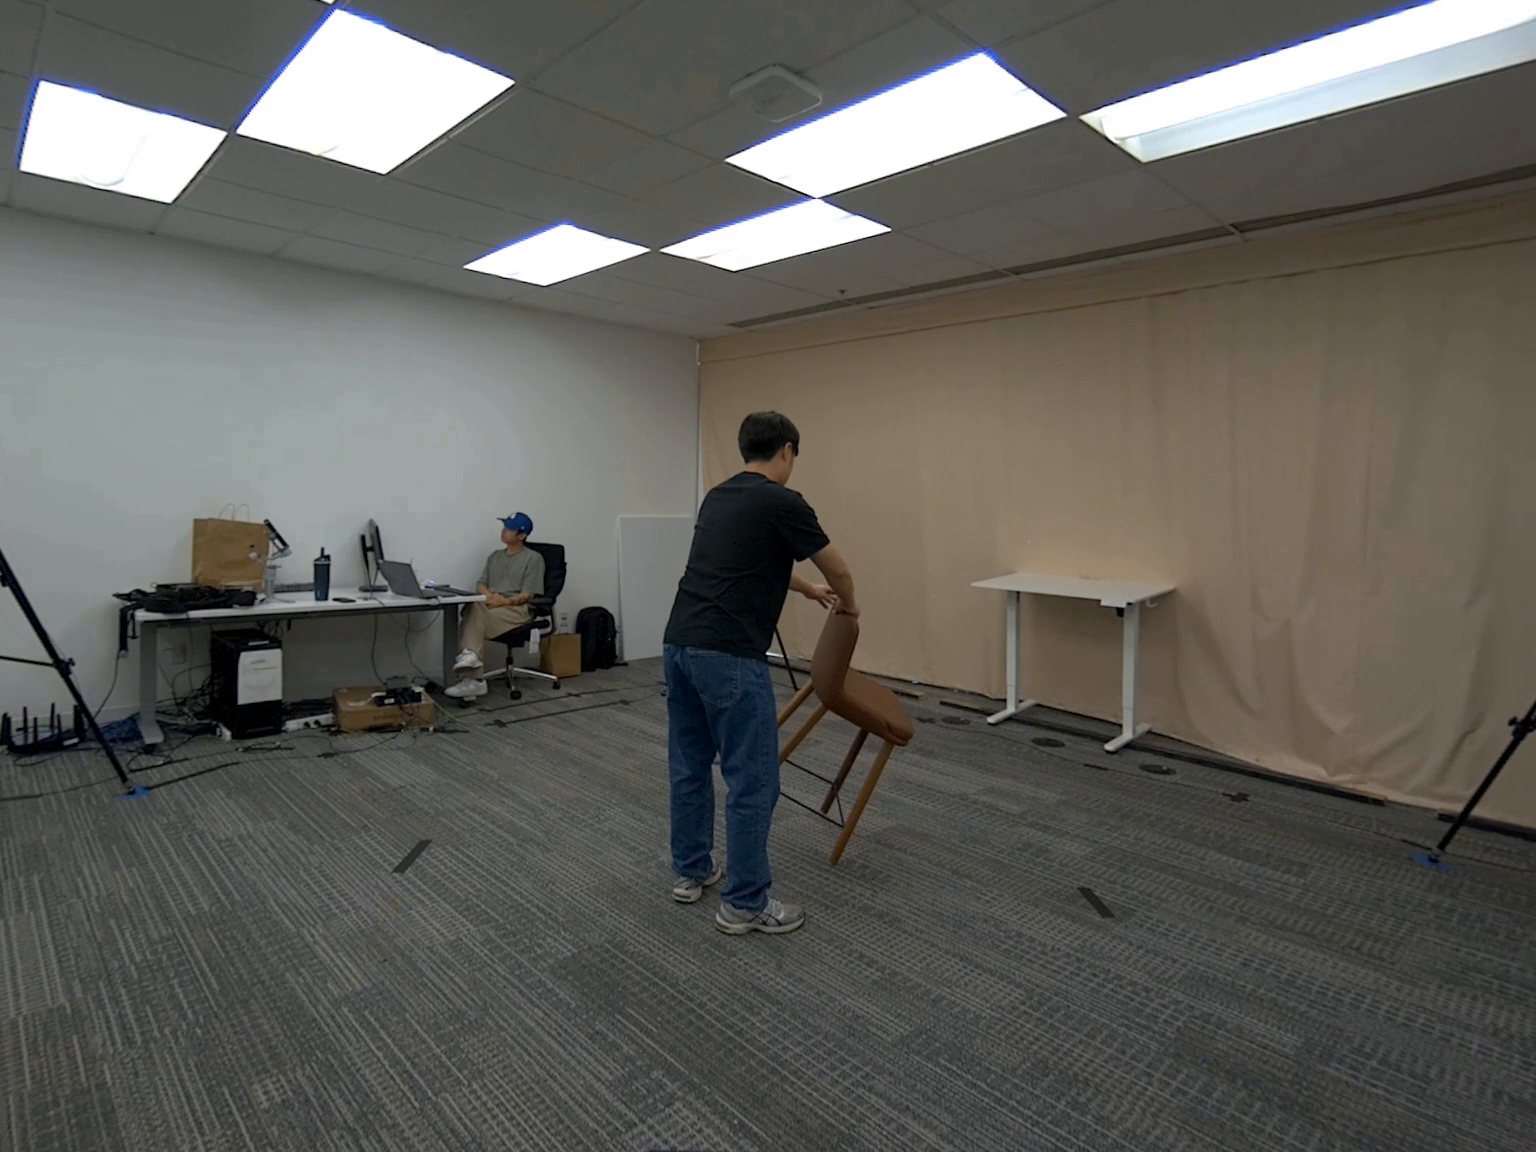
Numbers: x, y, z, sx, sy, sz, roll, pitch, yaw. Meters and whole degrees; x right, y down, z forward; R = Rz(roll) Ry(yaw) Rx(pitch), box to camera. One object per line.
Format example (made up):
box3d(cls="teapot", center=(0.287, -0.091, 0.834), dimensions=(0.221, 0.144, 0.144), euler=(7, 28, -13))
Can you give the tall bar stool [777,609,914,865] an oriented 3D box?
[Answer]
box3d(cls="tall bar stool", center=(0.275, 0.587, 3.310), dimensions=(0.465, 0.887, 0.460), euler=(28, 10, -6))
